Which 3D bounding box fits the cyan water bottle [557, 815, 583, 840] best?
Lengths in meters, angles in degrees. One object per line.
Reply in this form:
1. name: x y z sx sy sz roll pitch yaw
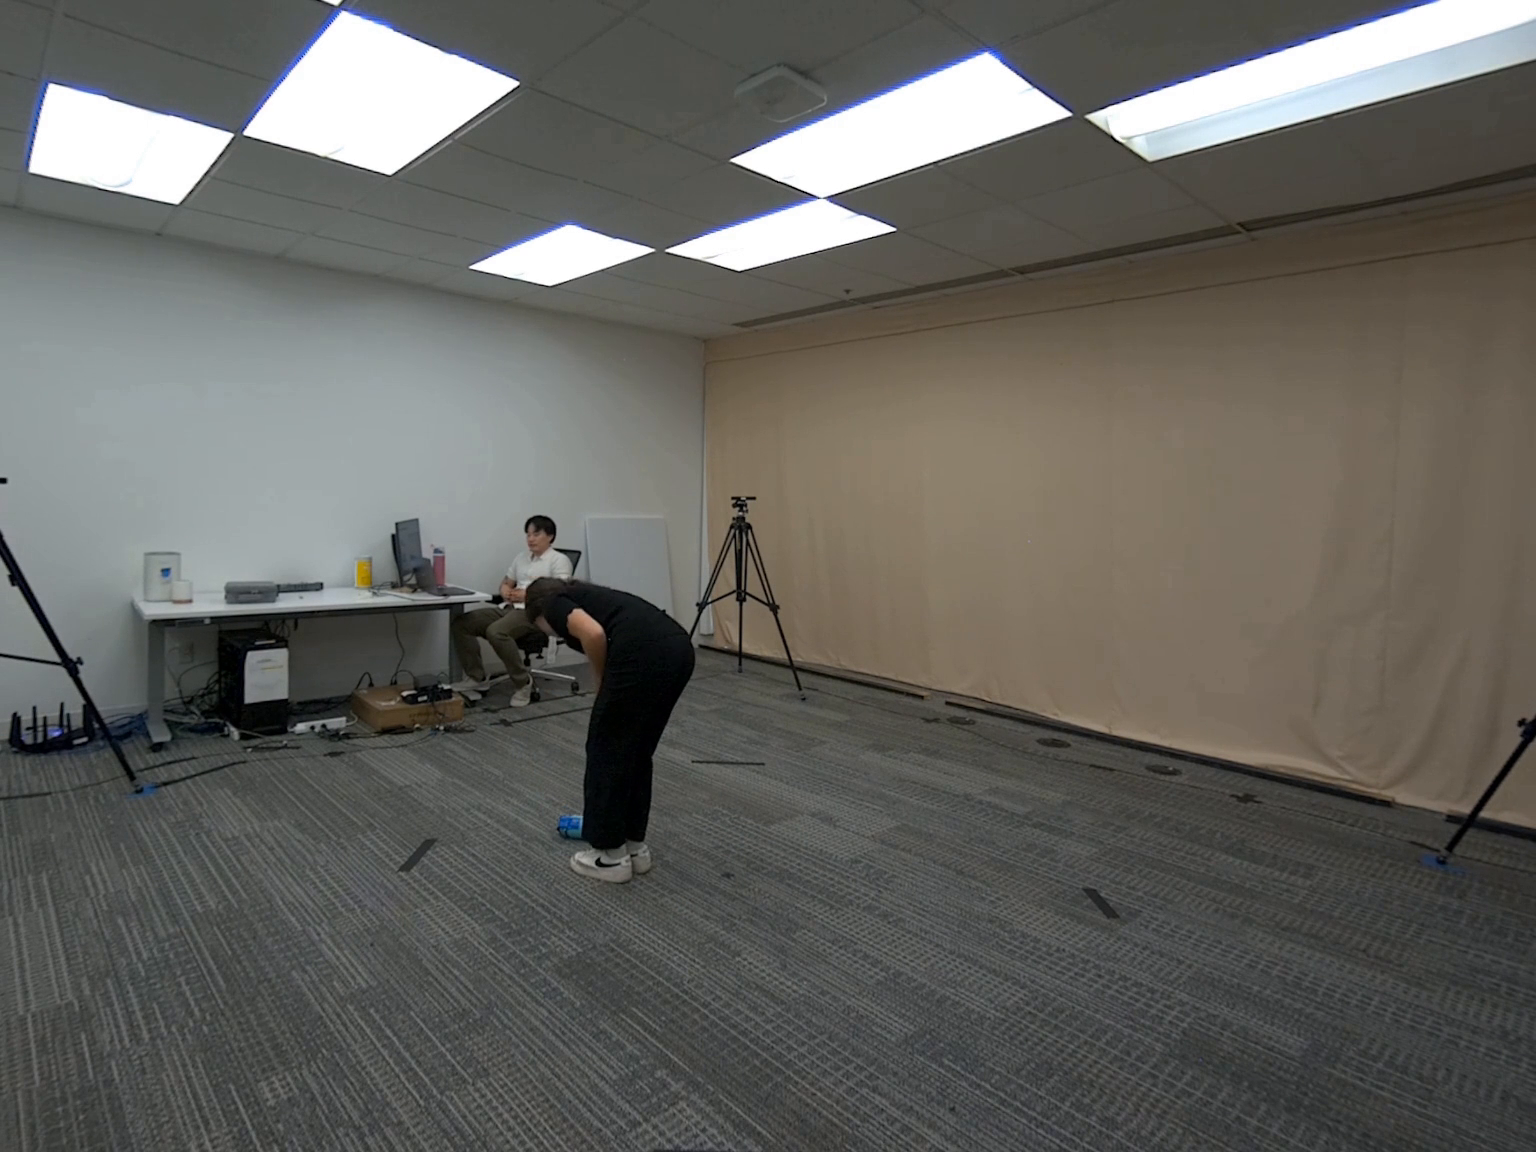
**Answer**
1. cyan water bottle: -0.728 1.019 3.405 0.286 0.092 0.092 3 4 11
